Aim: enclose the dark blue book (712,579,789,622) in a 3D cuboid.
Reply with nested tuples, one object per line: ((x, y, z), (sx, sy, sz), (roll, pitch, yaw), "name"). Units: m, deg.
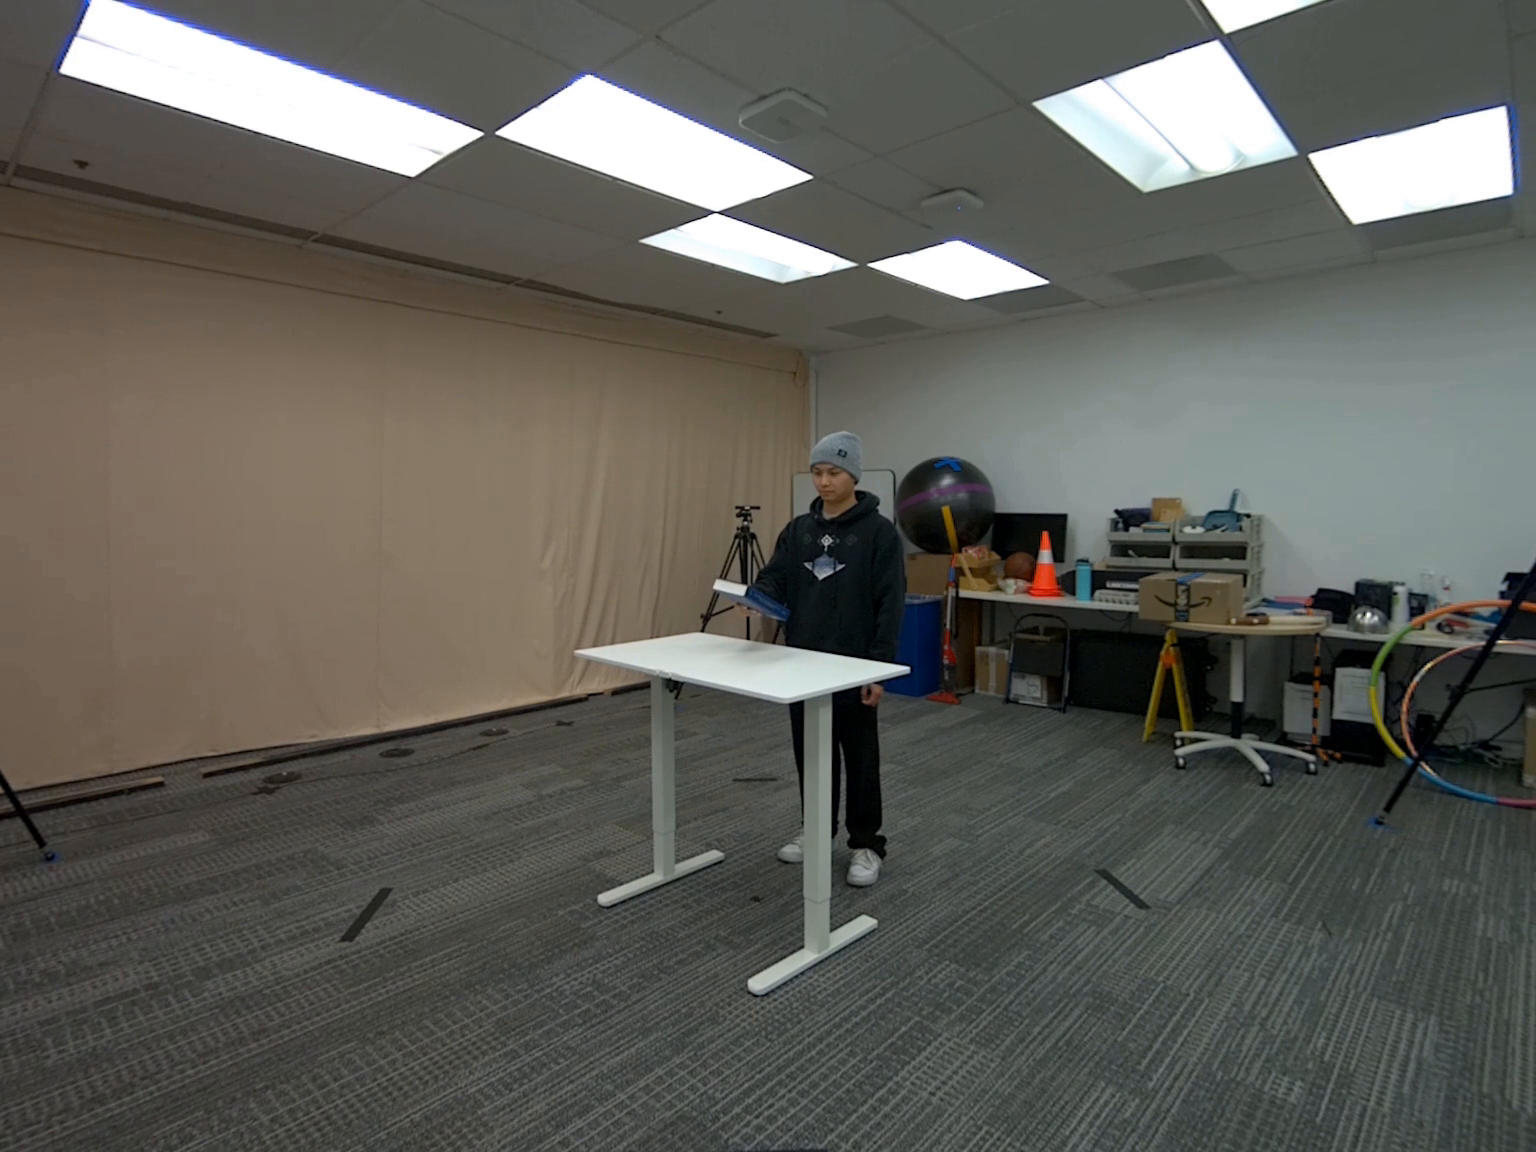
((-0.071, 0.081, 2.900), (0.169, 0.045, 0.236), (11, -15, 43), "dark blue book")
